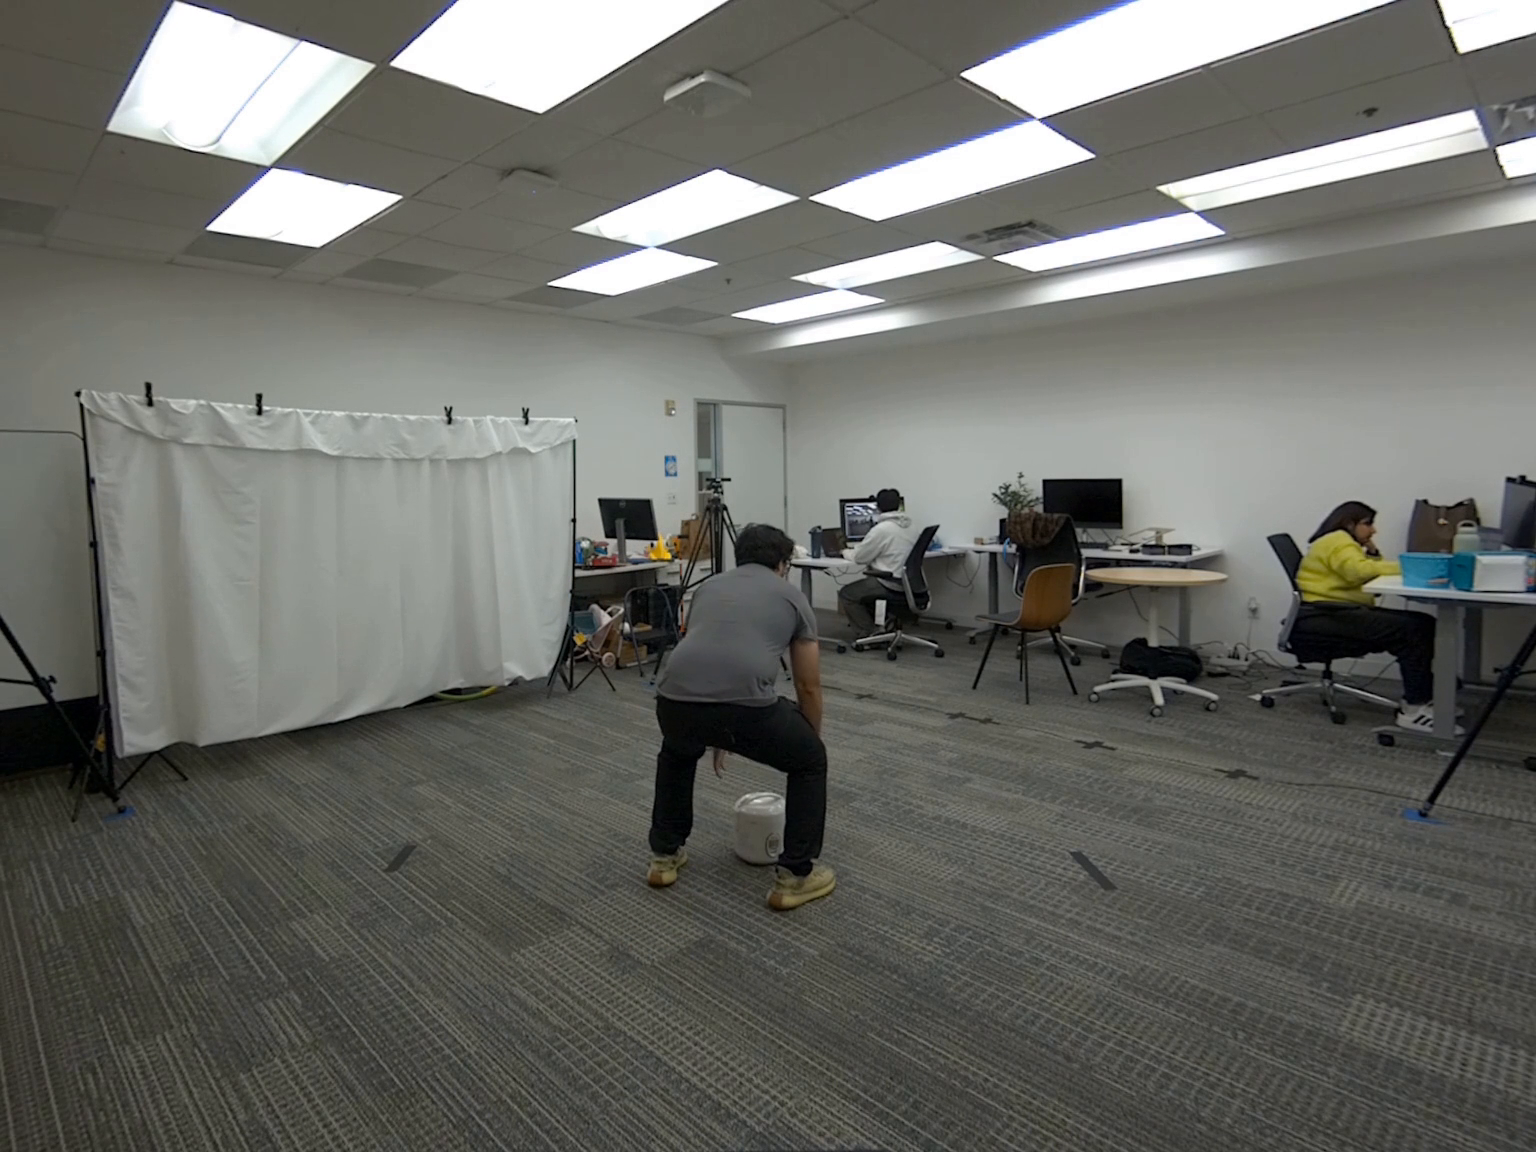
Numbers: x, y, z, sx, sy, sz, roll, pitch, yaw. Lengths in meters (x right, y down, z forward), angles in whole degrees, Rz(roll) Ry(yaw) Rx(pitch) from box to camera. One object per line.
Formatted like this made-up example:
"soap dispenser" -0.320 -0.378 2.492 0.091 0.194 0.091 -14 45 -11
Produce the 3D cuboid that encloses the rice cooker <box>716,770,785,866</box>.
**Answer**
"rice cooker" -0.017 0.913 3.163 0.217 0.232 0.222 -4 5 -20
